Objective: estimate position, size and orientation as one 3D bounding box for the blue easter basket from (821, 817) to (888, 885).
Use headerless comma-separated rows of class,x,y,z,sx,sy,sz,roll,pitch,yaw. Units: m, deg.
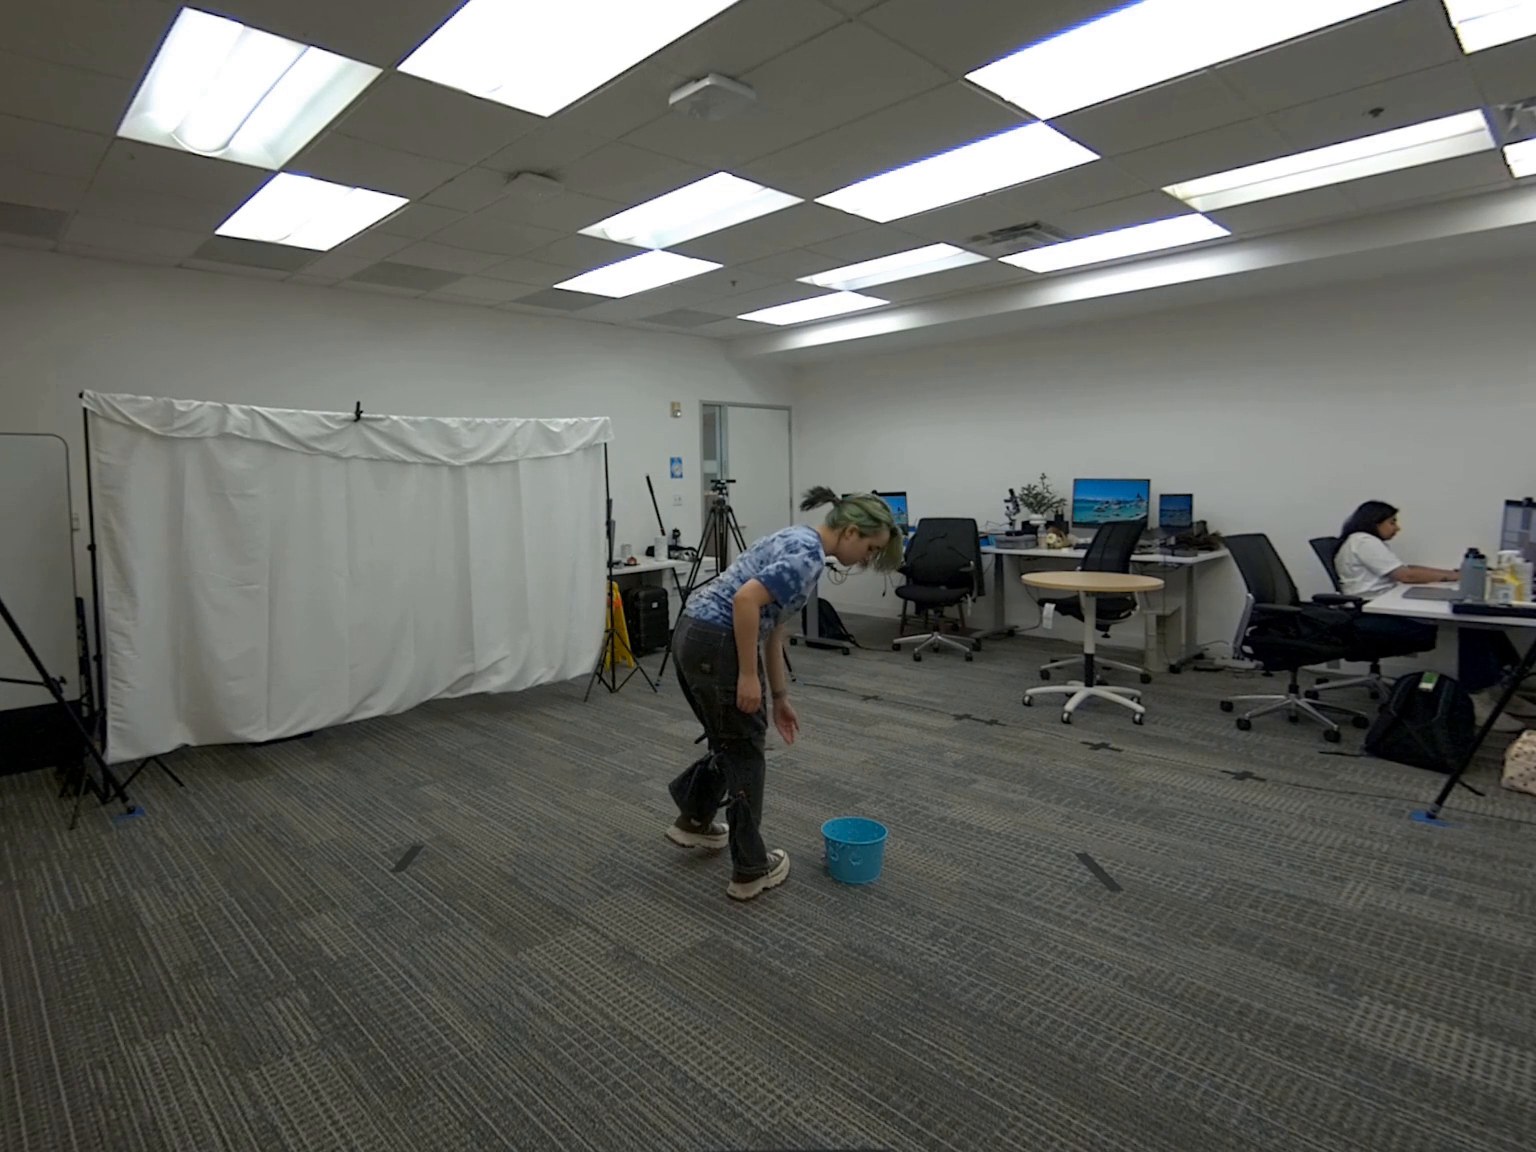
blue easter basket,0.301,0.965,3.030,0.243,0.155,0.245,-1,6,-2
